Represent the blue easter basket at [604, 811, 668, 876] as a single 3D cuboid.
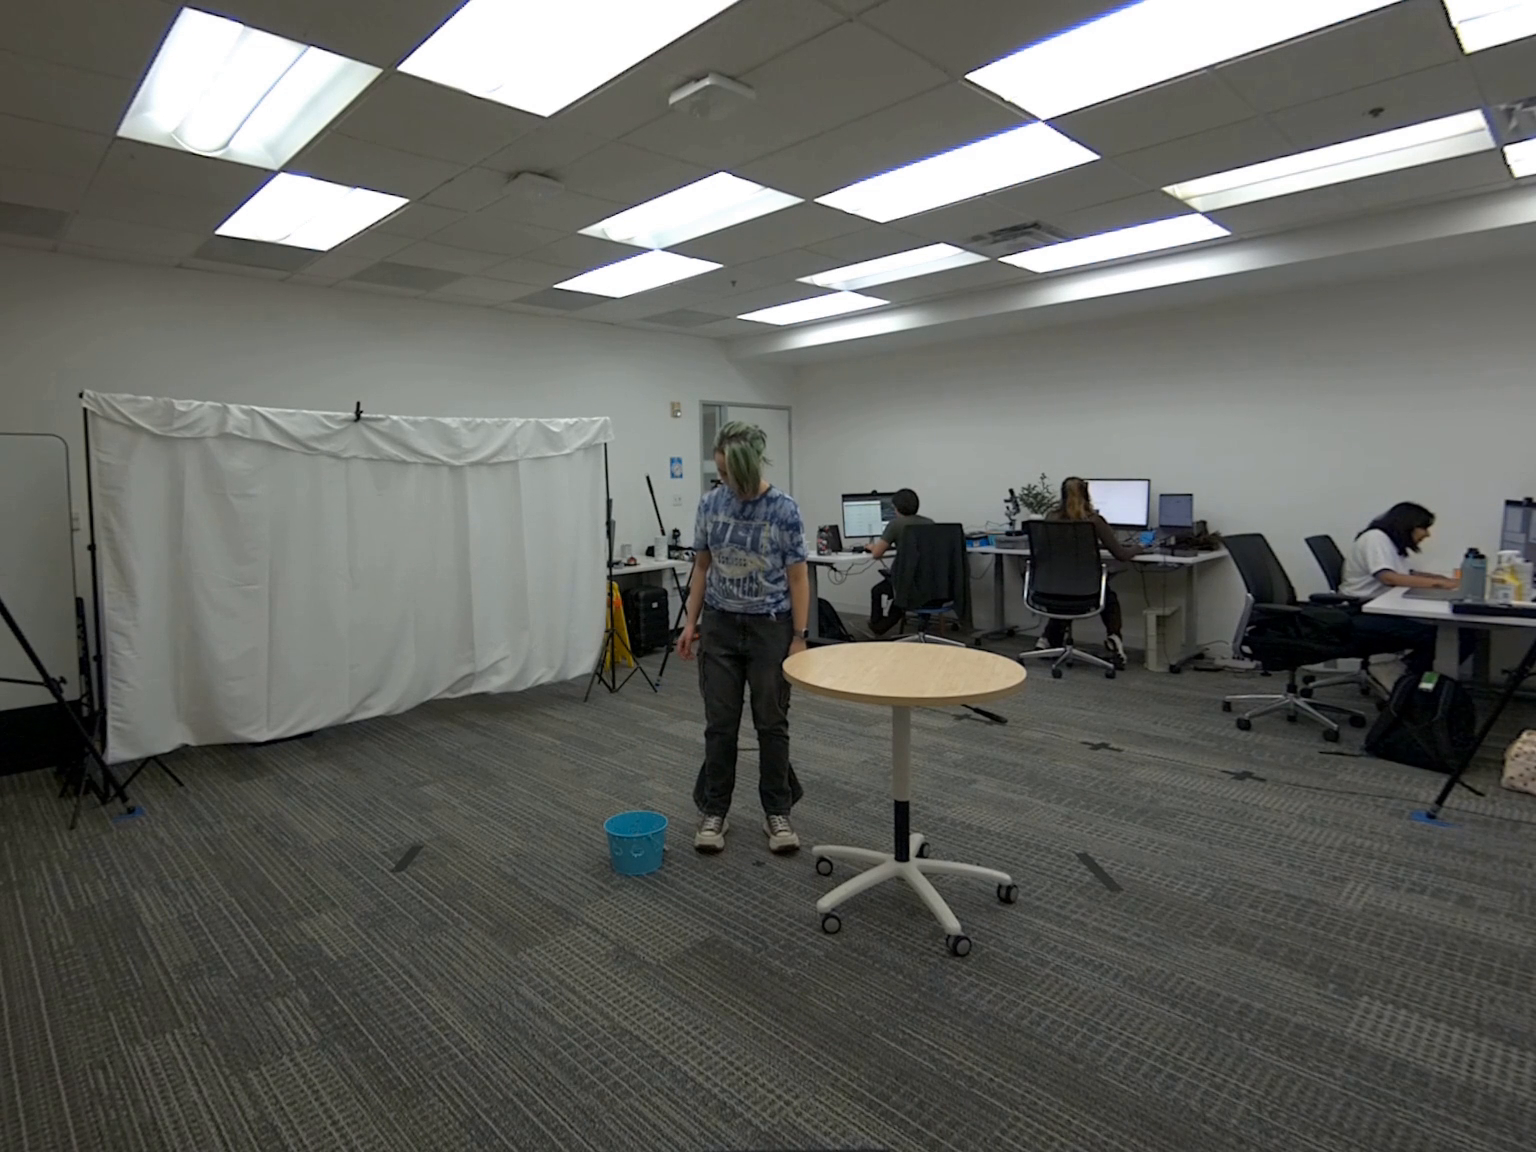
[{"bbox_3d":[-0.474,0.974,3.119,0.243,0.155,0.245,-2,5,-2],"label":"blue easter basket"}]
